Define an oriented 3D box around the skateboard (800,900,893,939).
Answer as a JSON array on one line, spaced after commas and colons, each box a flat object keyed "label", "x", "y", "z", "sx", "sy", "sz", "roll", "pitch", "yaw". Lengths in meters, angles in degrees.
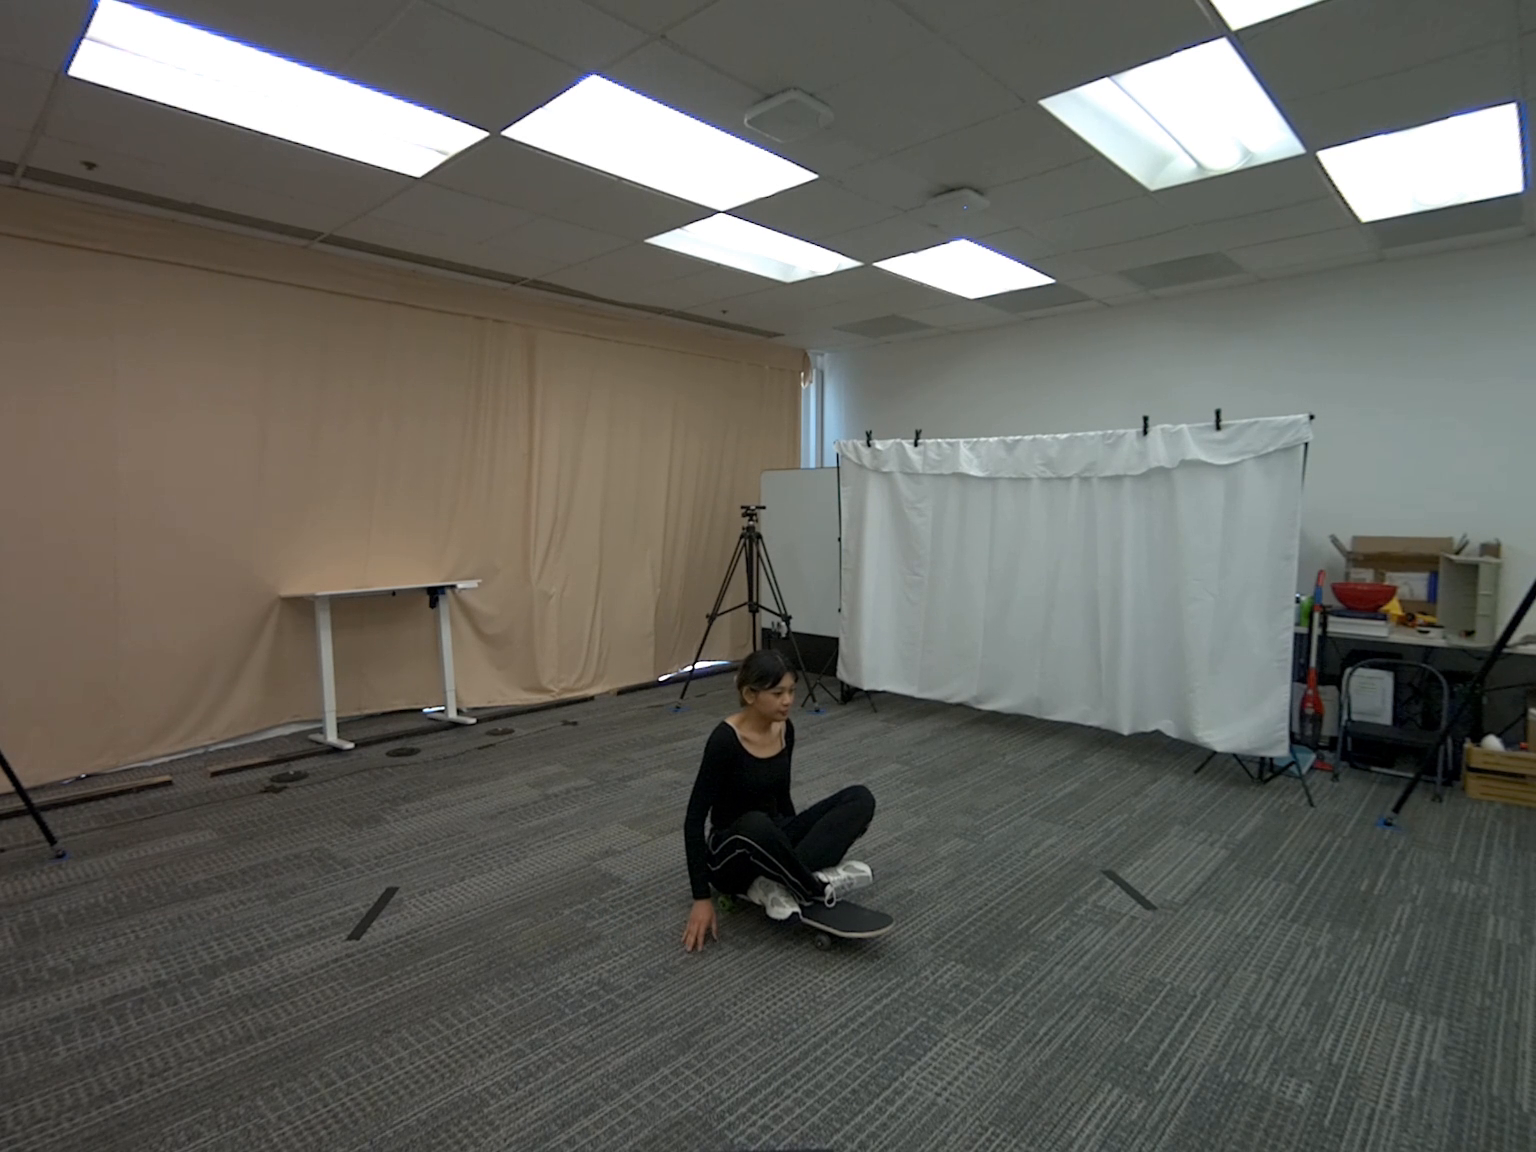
[{"label": "skateboard", "x": 0.075, "y": 1.101, "z": 2.826, "sx": 0.810, "sy": 0.110, "sz": 0.188, "roll": 1, "pitch": 5, "yaw": 38}]
